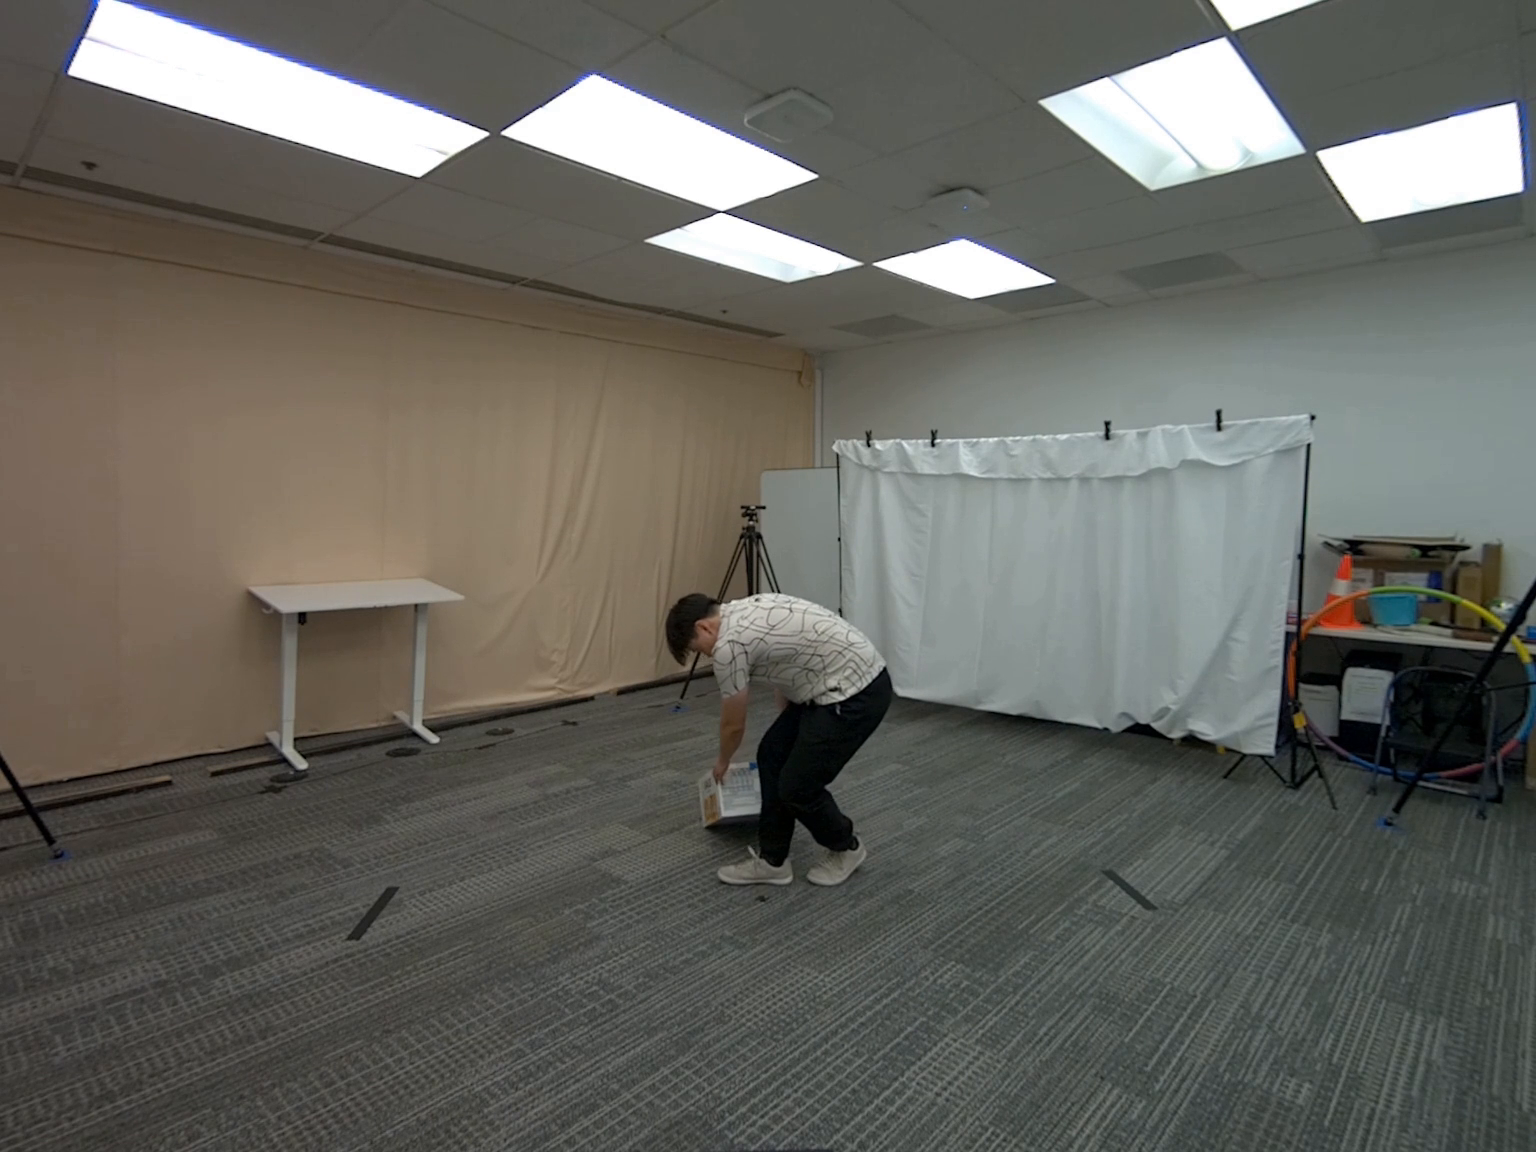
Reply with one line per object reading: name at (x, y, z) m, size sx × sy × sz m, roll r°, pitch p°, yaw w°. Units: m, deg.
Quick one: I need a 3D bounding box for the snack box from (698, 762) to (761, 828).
snack box at (-0.083, 0.919, 3.549) m, size 0.335 × 0.209 × 0.405 m, roll -2°, pitch -21°, yaw -15°
